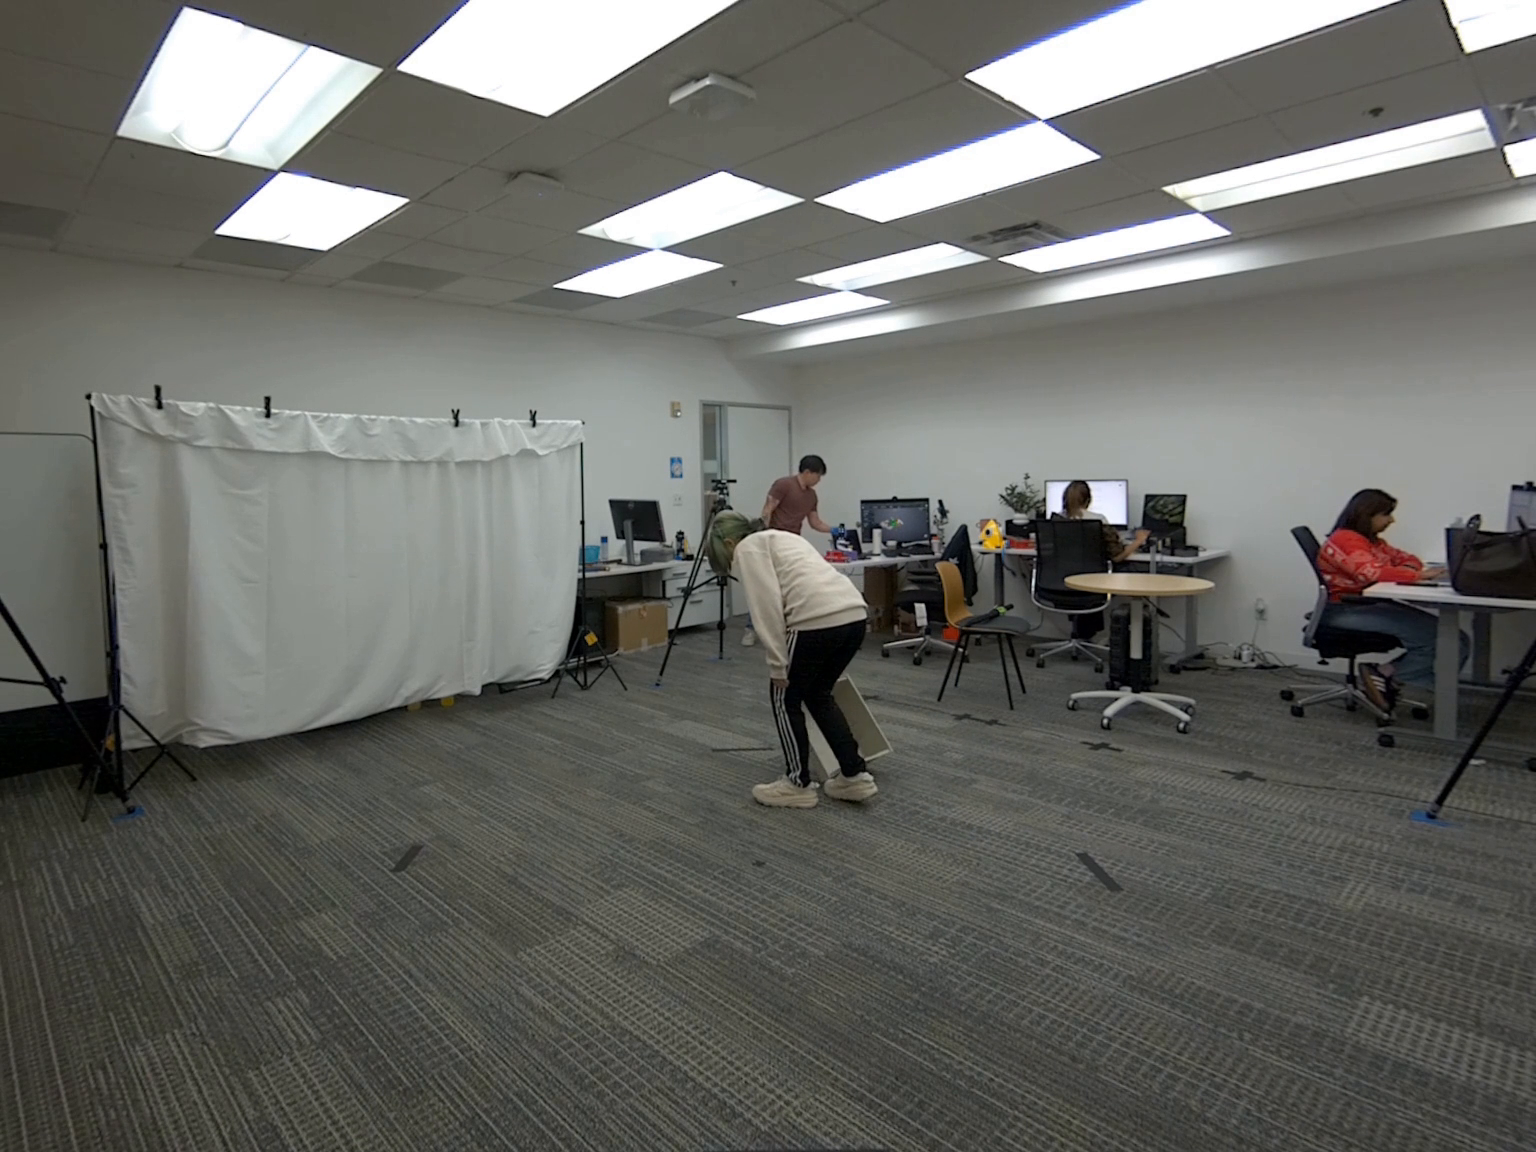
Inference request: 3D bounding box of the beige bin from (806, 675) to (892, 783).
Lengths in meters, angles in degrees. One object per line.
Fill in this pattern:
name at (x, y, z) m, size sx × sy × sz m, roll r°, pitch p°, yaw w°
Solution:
beige bin at (0.316, 0.722, 4.030) m, size 0.367 × 0.435 × 0.188 m, roll -4°, pitch -36°, yaw -44°
